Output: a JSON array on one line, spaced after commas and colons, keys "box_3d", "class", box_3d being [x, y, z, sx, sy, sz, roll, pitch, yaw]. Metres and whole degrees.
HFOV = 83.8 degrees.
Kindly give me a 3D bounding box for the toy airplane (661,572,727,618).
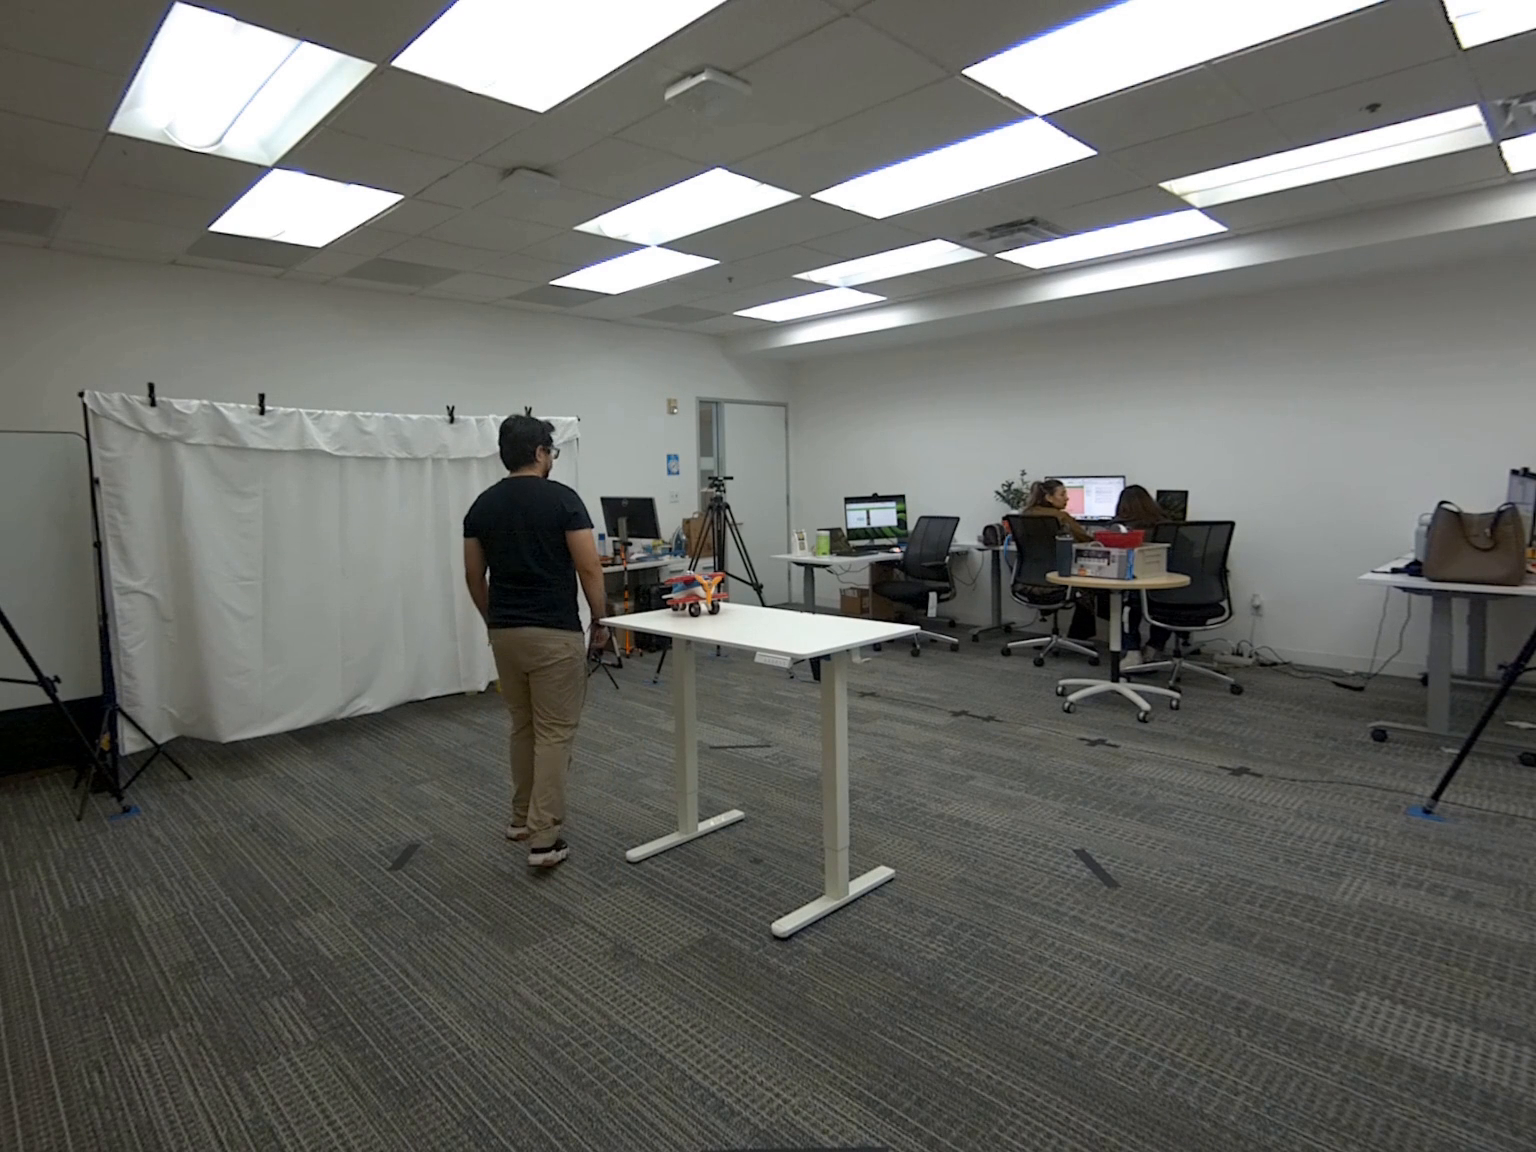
[{"box_3d": [-0.302, 0.066, 3.246, 0.265, 0.156, 0.246, 3, 5, 25], "class": "toy airplane"}]
